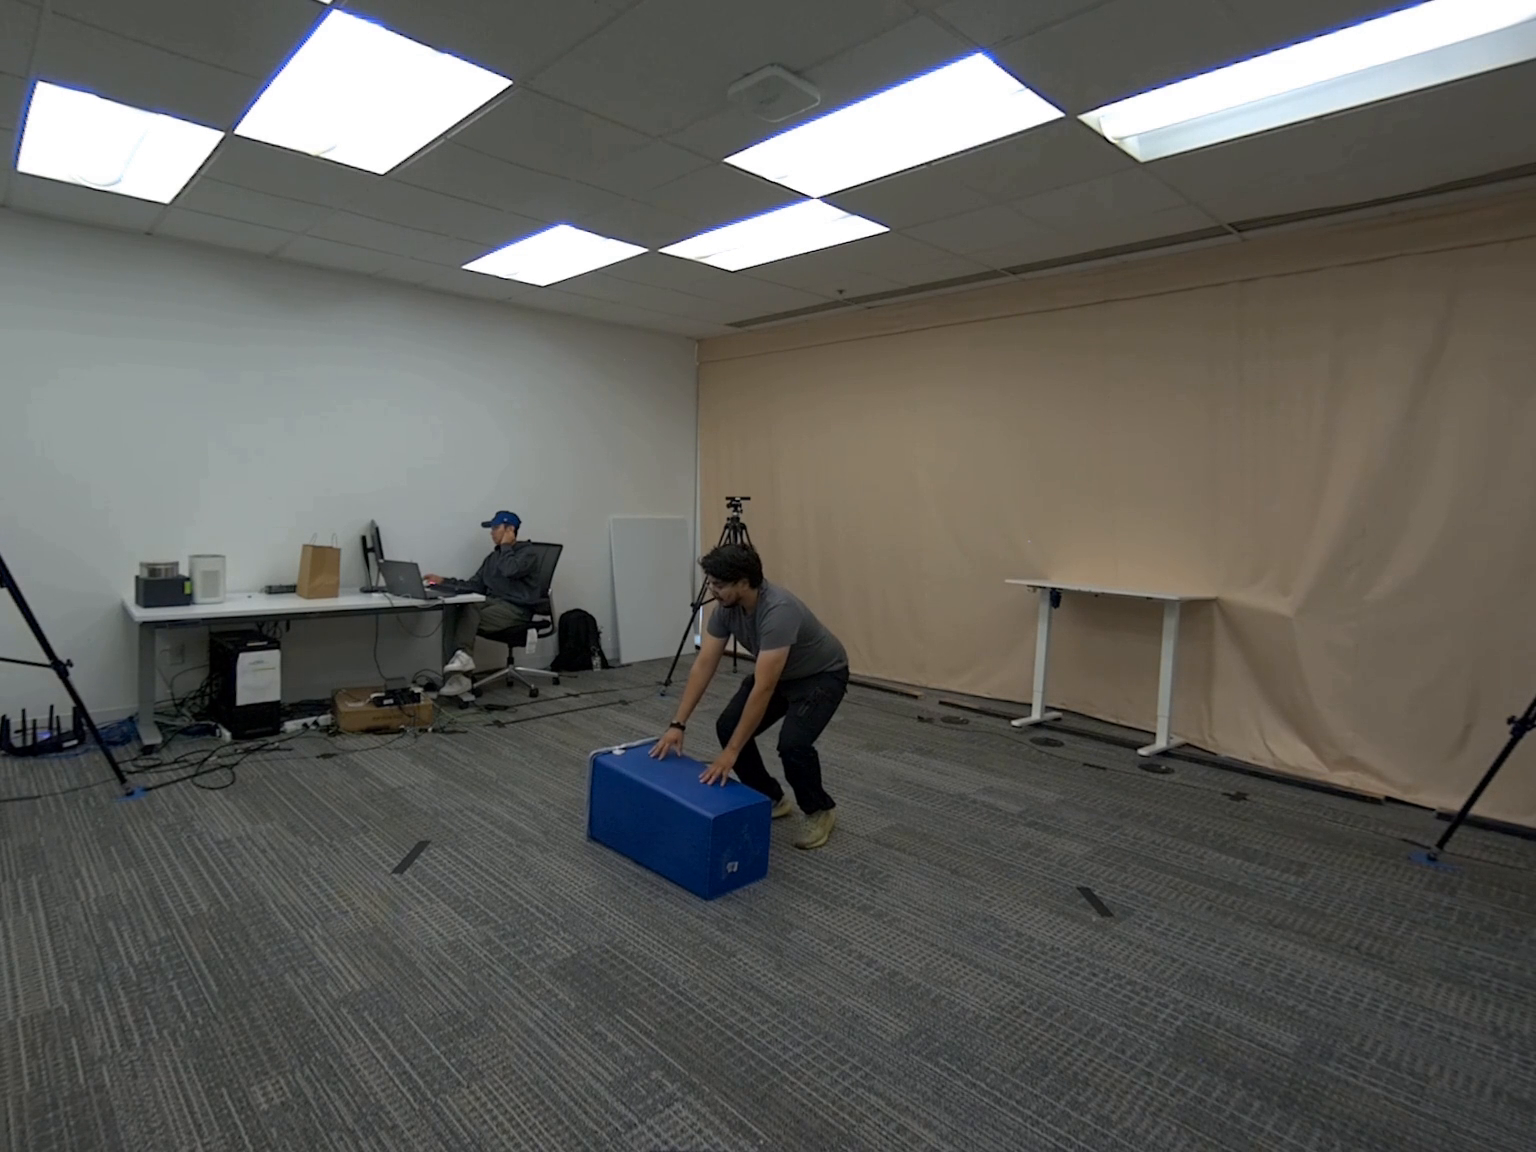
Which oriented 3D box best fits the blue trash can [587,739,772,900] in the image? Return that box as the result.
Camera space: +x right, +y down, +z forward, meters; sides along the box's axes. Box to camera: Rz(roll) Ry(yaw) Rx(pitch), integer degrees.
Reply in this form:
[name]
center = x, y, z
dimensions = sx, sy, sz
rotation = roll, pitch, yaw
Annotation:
[blue trash can]
center = -0.362, 0.920, 3.232
dimensions = 0.365, 0.377, 0.732
rotation = -1, 7, -44
